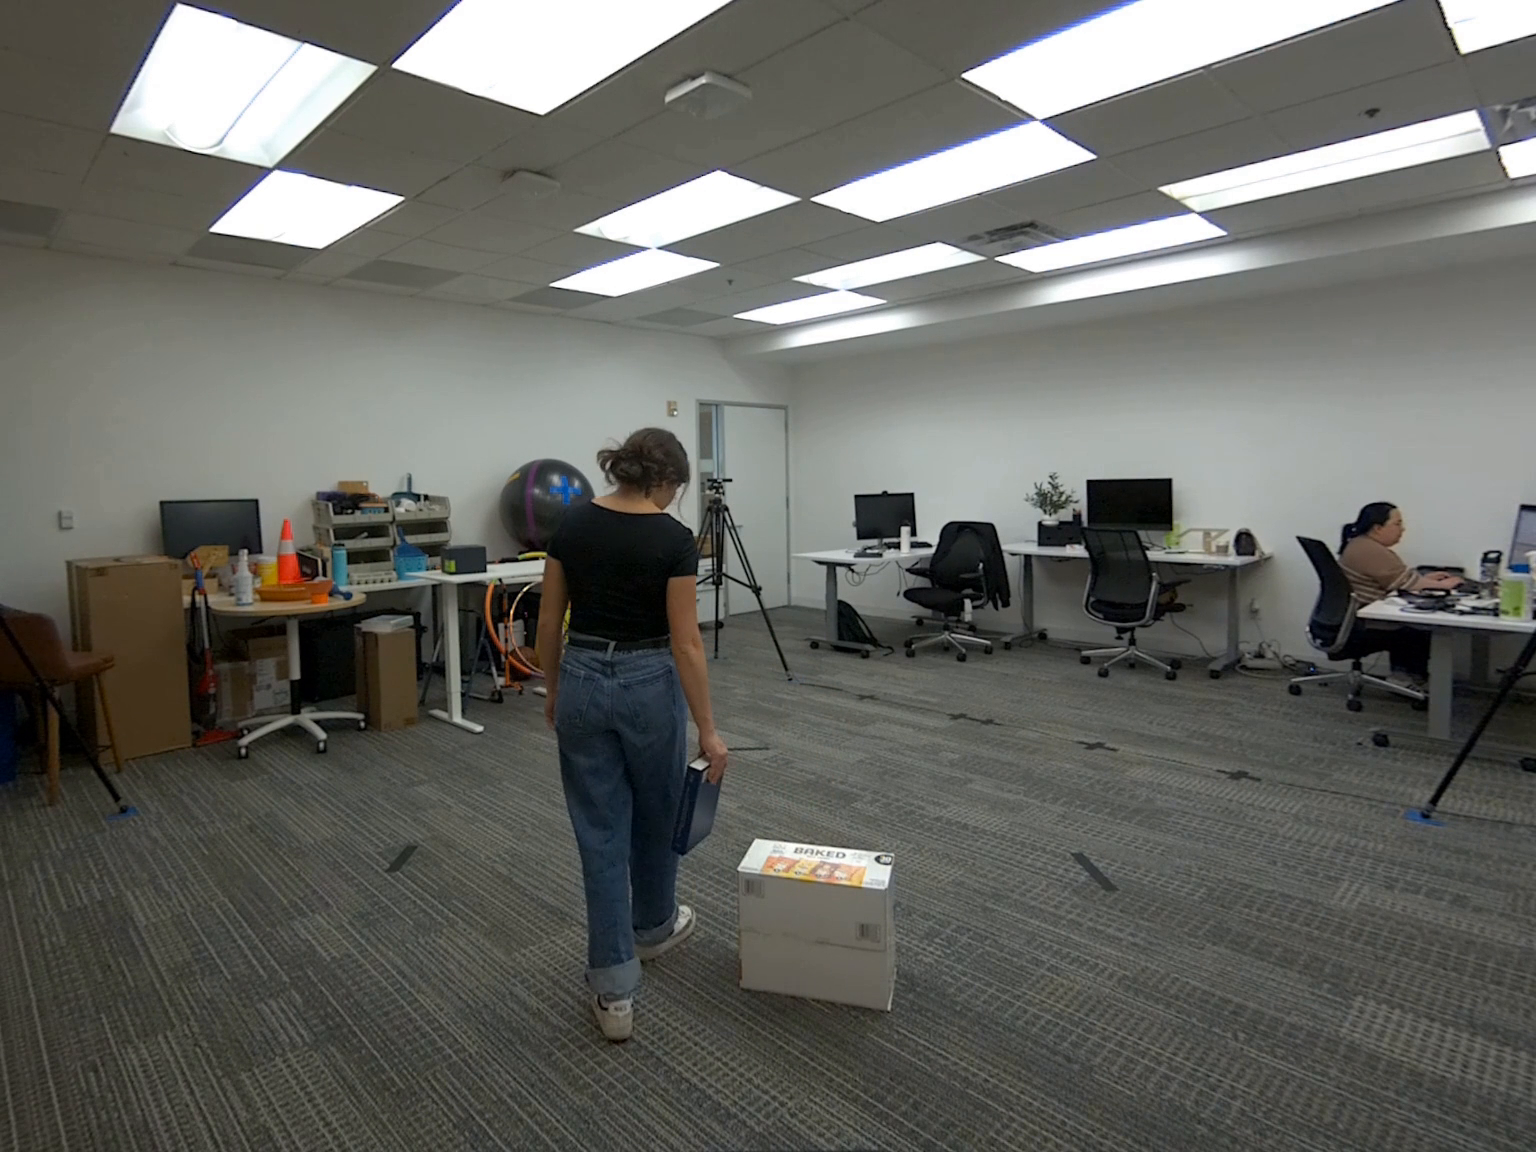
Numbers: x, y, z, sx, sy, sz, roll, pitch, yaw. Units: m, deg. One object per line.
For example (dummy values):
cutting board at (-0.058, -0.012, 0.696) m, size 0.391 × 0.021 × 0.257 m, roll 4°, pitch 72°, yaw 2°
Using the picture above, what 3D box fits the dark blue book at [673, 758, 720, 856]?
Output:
dark blue book at (-0.182, 0.590, 2.273) m, size 0.046 × 0.243 × 0.160 m, roll 16°, pitch 12°, yaw 23°
